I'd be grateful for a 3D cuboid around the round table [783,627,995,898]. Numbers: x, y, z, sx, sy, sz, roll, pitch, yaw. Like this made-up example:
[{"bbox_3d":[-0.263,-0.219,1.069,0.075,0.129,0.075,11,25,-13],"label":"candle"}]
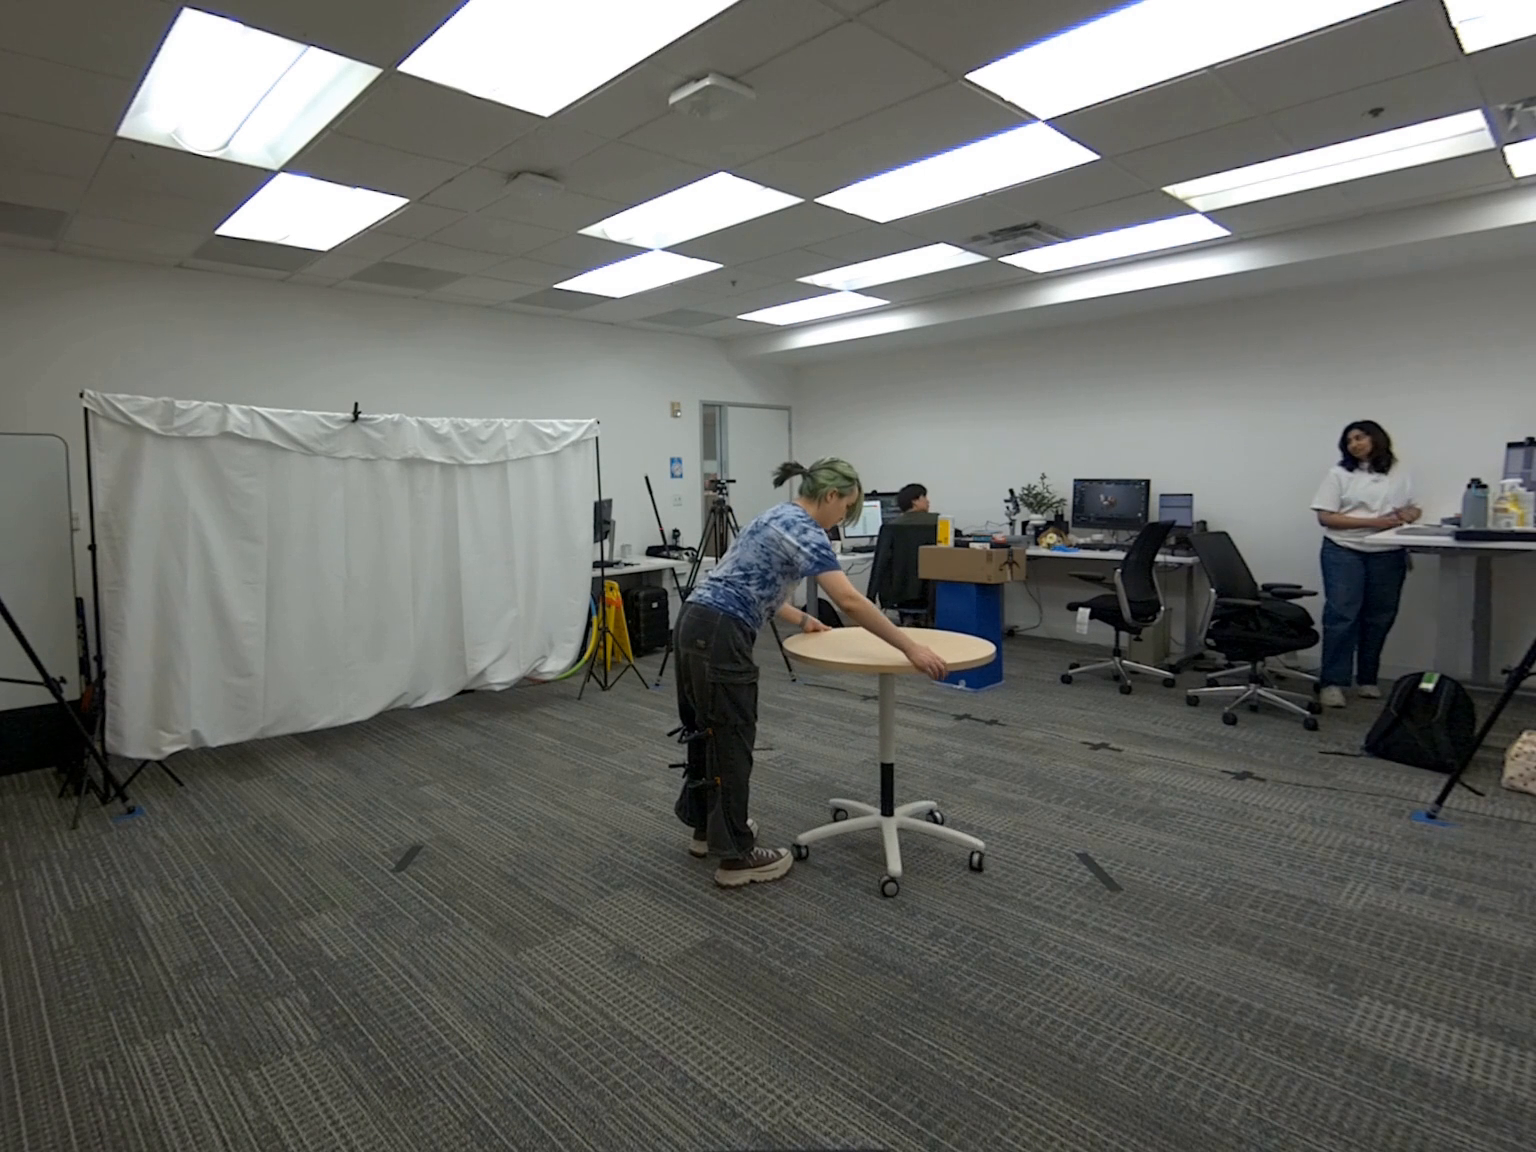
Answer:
[{"bbox_3d":[0.443,0.642,3.174,0.763,0.791,0.768,-1,5,-2],"label":"round table"}]
